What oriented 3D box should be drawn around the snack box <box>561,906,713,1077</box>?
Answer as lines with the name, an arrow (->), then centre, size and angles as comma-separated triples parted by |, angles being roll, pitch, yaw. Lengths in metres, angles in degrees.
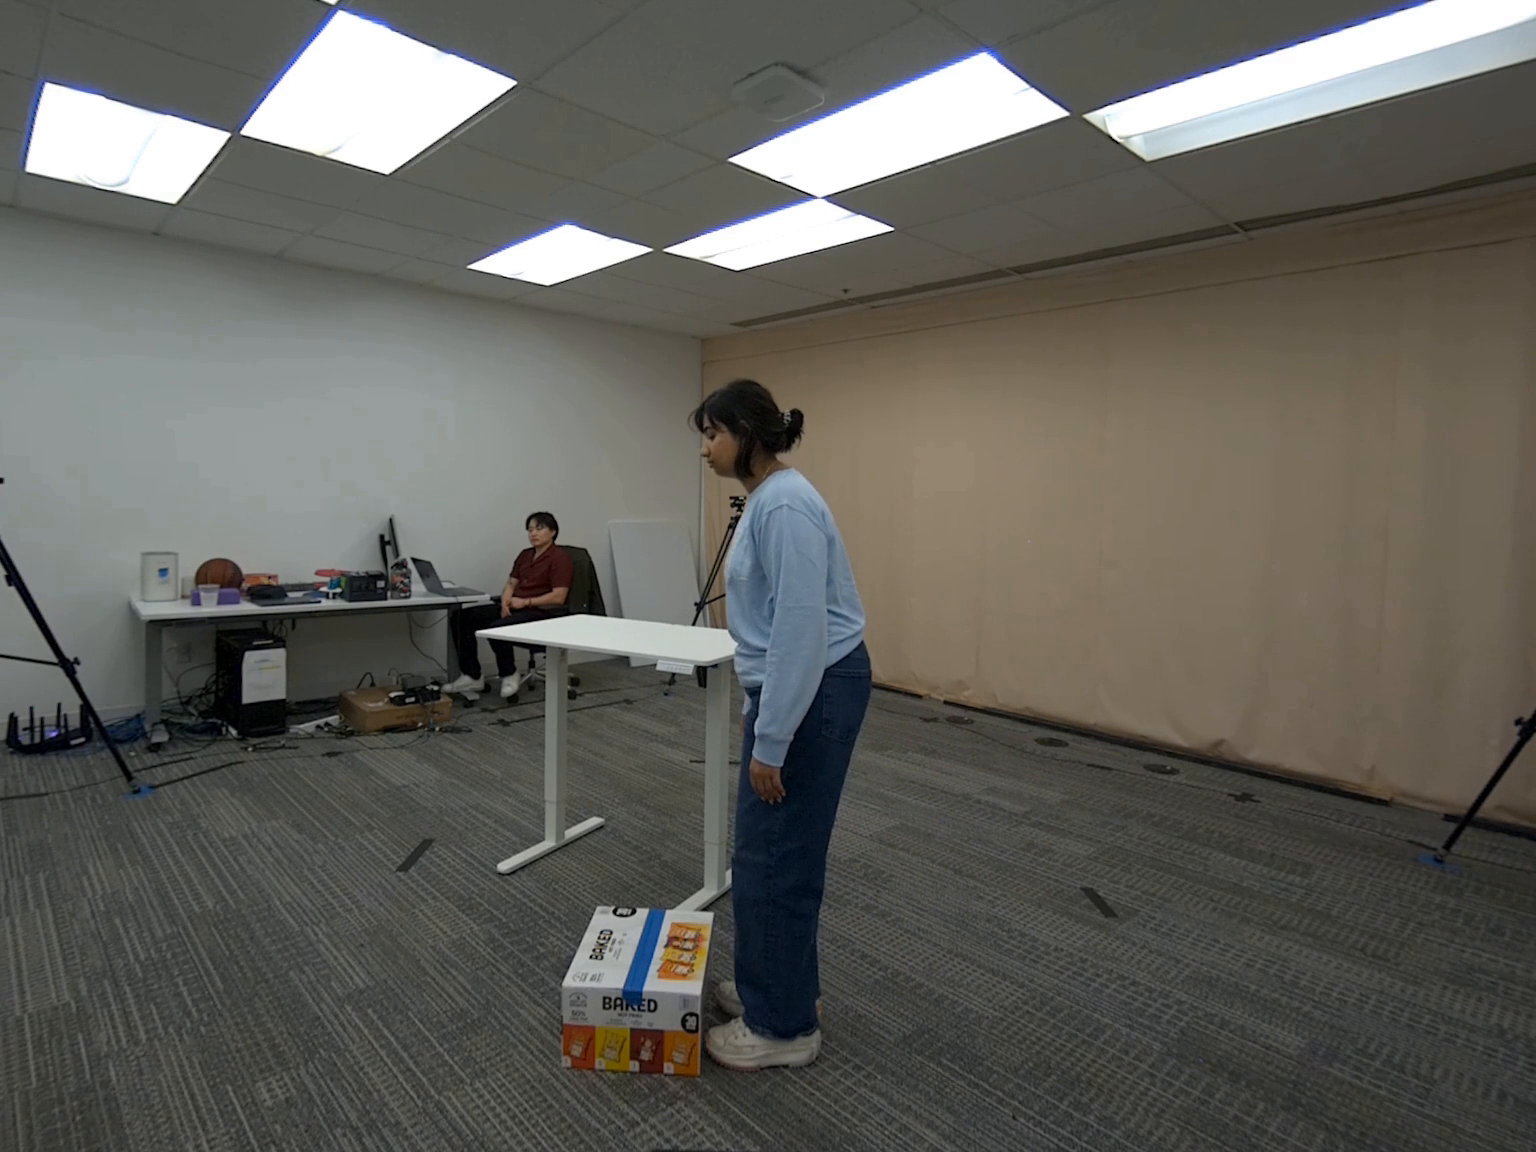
snack box -> -0.329, 1.074, 2.230 | 0.341, 0.205, 0.405 | 2, 5, 2
